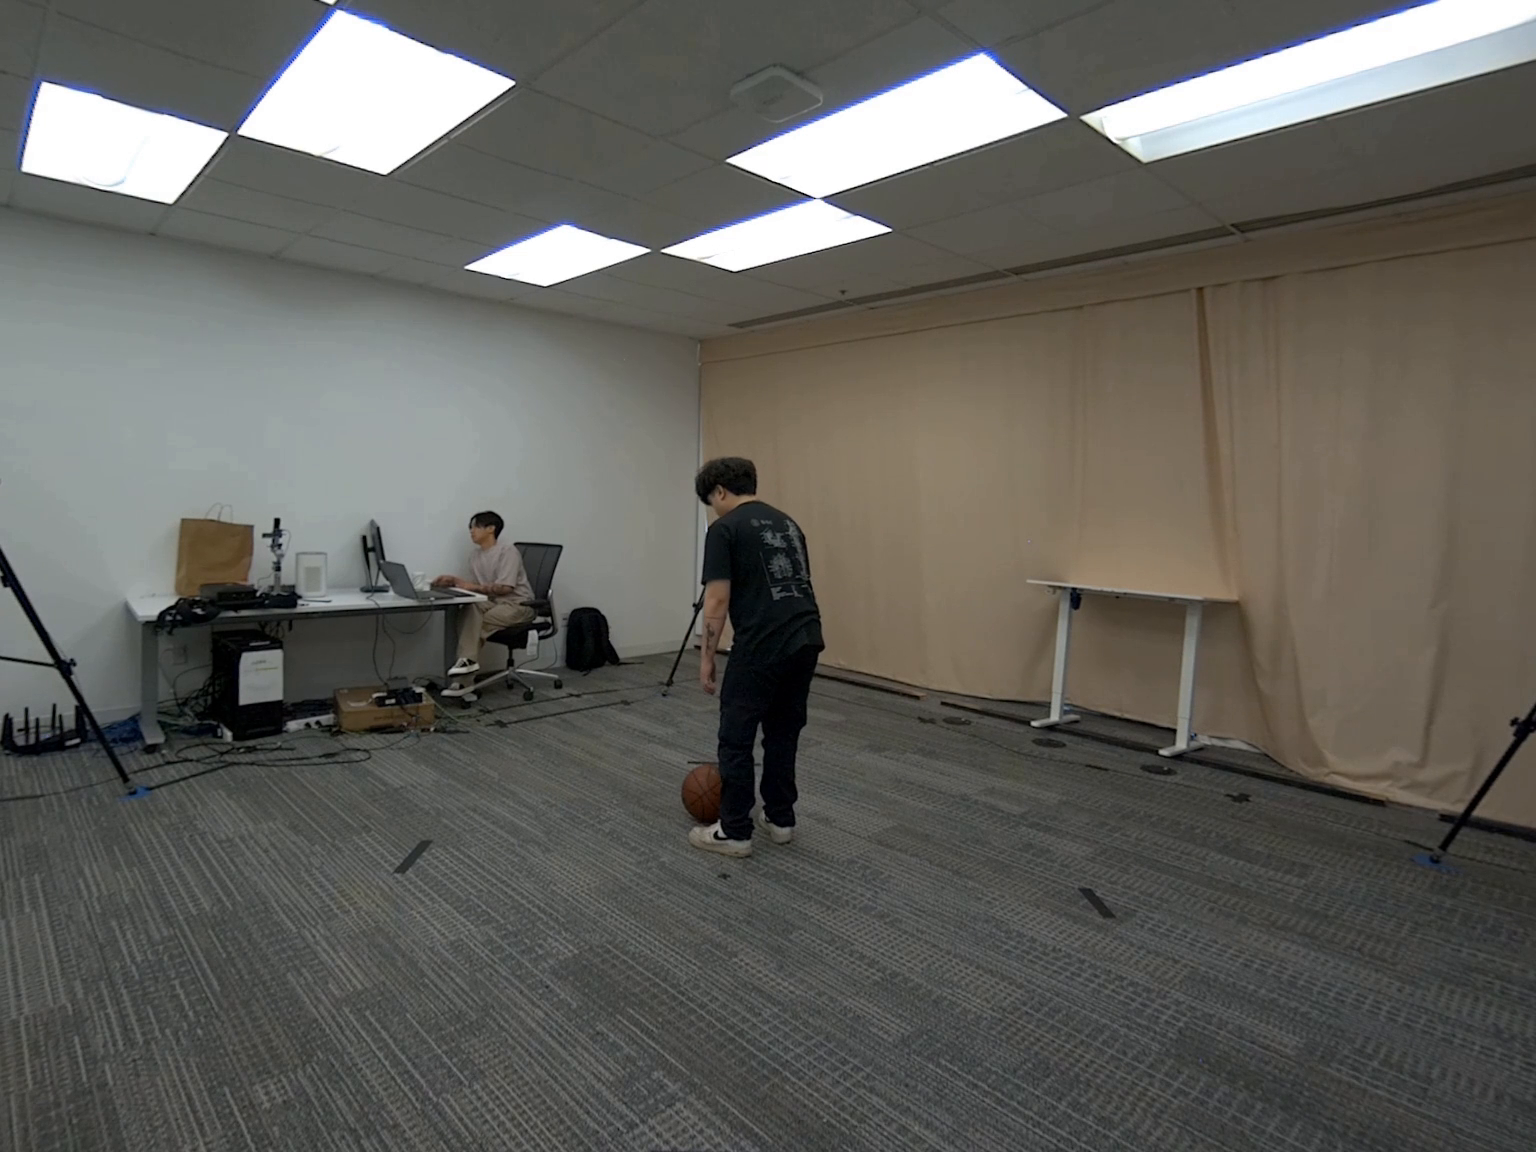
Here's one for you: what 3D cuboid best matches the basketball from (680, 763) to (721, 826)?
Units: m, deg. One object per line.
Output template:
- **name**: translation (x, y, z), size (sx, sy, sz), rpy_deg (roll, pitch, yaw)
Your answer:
- **basketball**: translation (-0.269, 0.937, 3.654), size (0.236, 0.235, 0.237), rpy_deg (1, 4, -1)
